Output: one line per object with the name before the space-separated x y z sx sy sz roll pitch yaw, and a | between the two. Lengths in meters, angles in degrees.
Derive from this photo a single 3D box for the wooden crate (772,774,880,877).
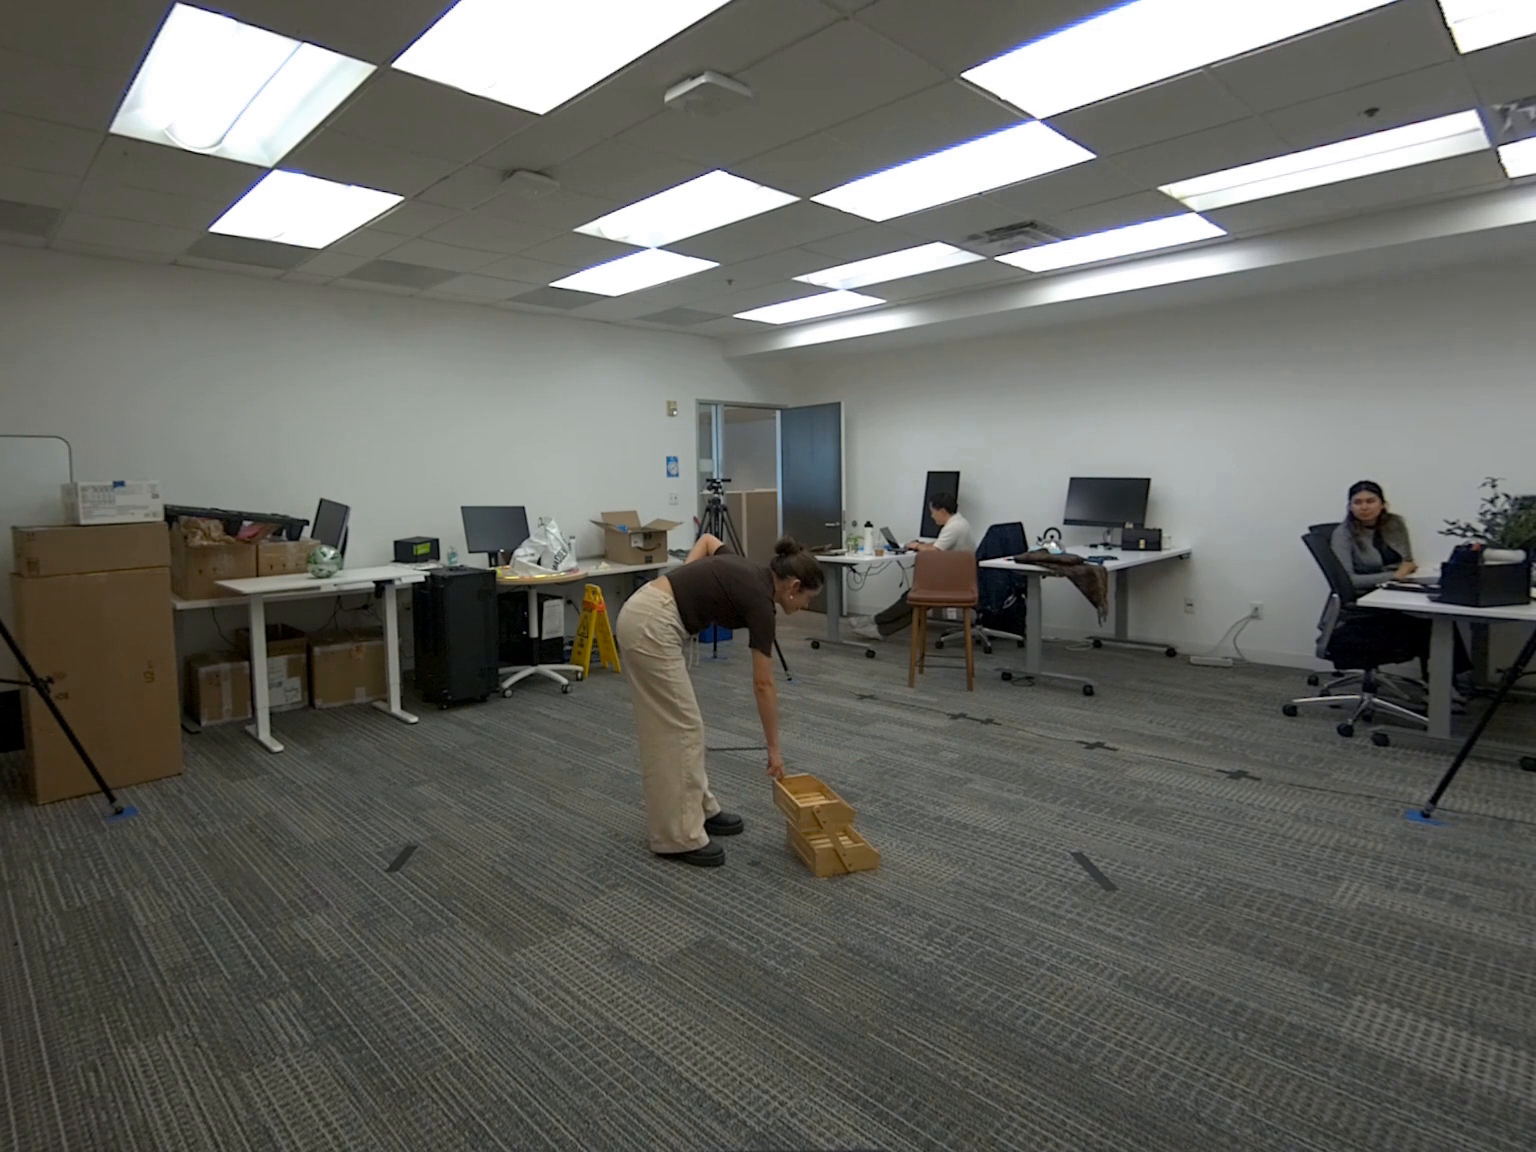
wooden crate | 0.215 0.902 3.144 0.297 0.272 0.331 -3 5 -17
